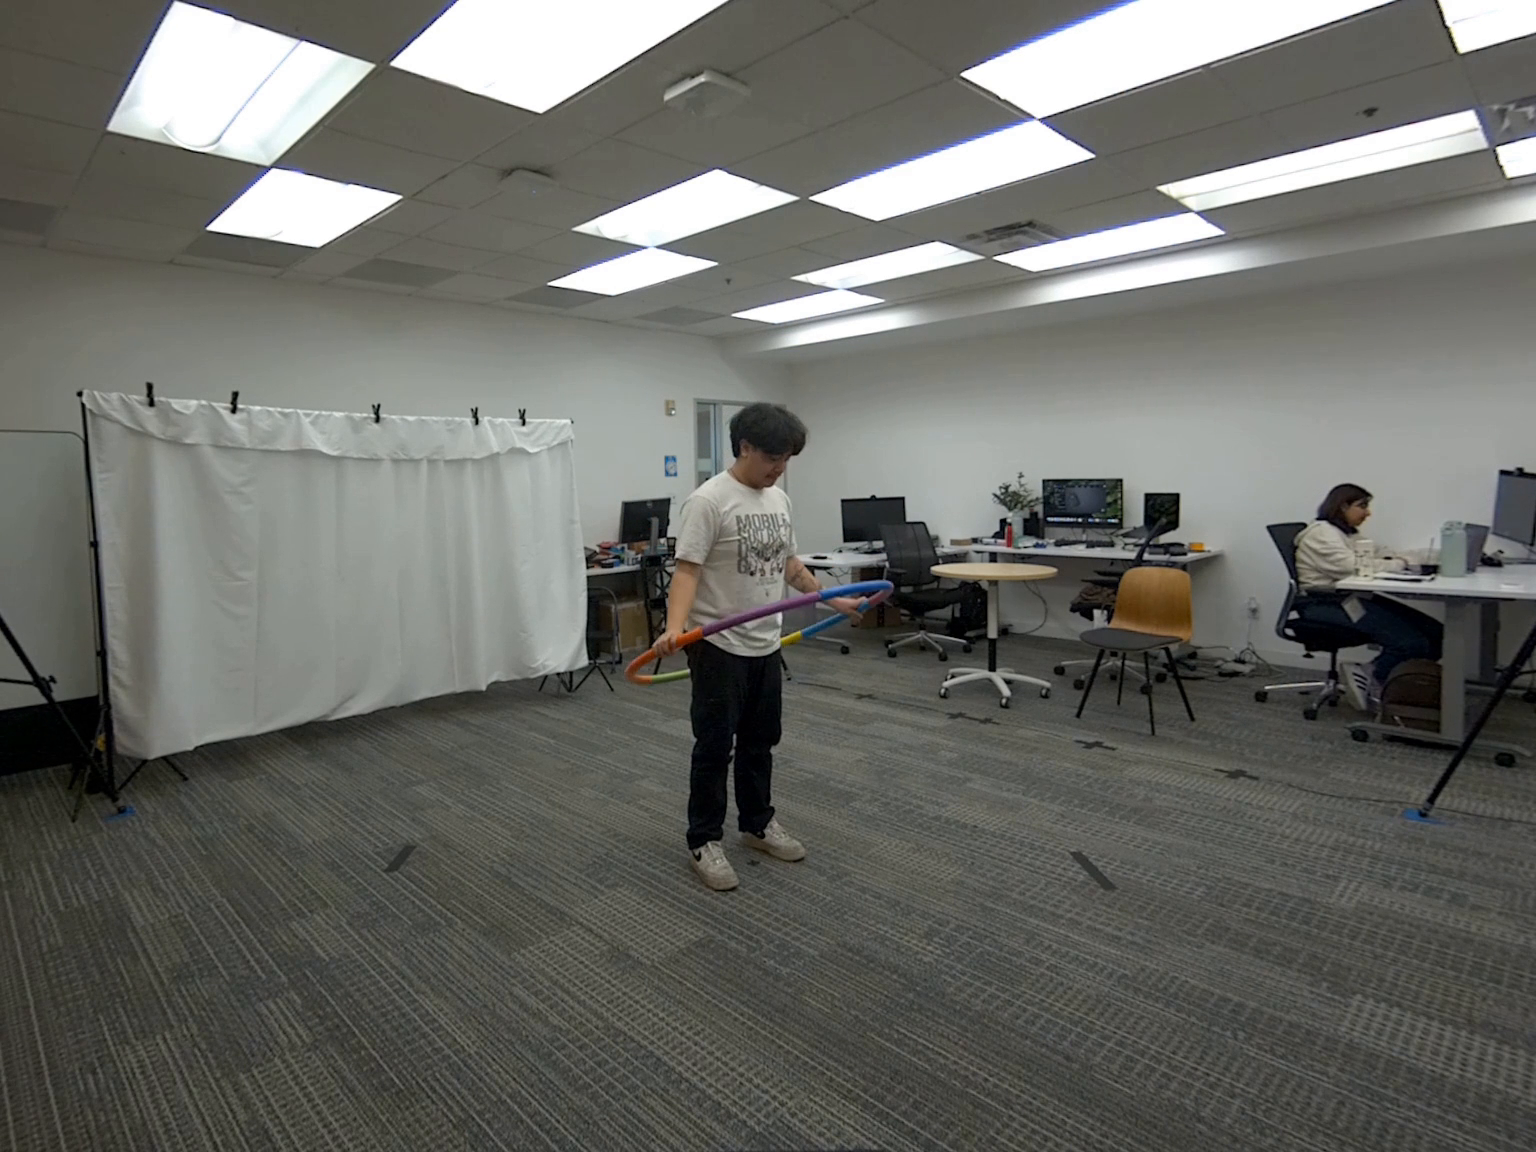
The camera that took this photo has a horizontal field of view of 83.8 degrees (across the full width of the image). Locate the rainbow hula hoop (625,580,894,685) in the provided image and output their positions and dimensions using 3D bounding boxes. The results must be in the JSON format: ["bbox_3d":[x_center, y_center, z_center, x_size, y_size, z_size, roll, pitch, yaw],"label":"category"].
[{"bbox_3d":[-0.031,0.198,3.004,0.982,0.052,0.974,-17,-11,-6],"label":"rainbow hula hoop"}]
